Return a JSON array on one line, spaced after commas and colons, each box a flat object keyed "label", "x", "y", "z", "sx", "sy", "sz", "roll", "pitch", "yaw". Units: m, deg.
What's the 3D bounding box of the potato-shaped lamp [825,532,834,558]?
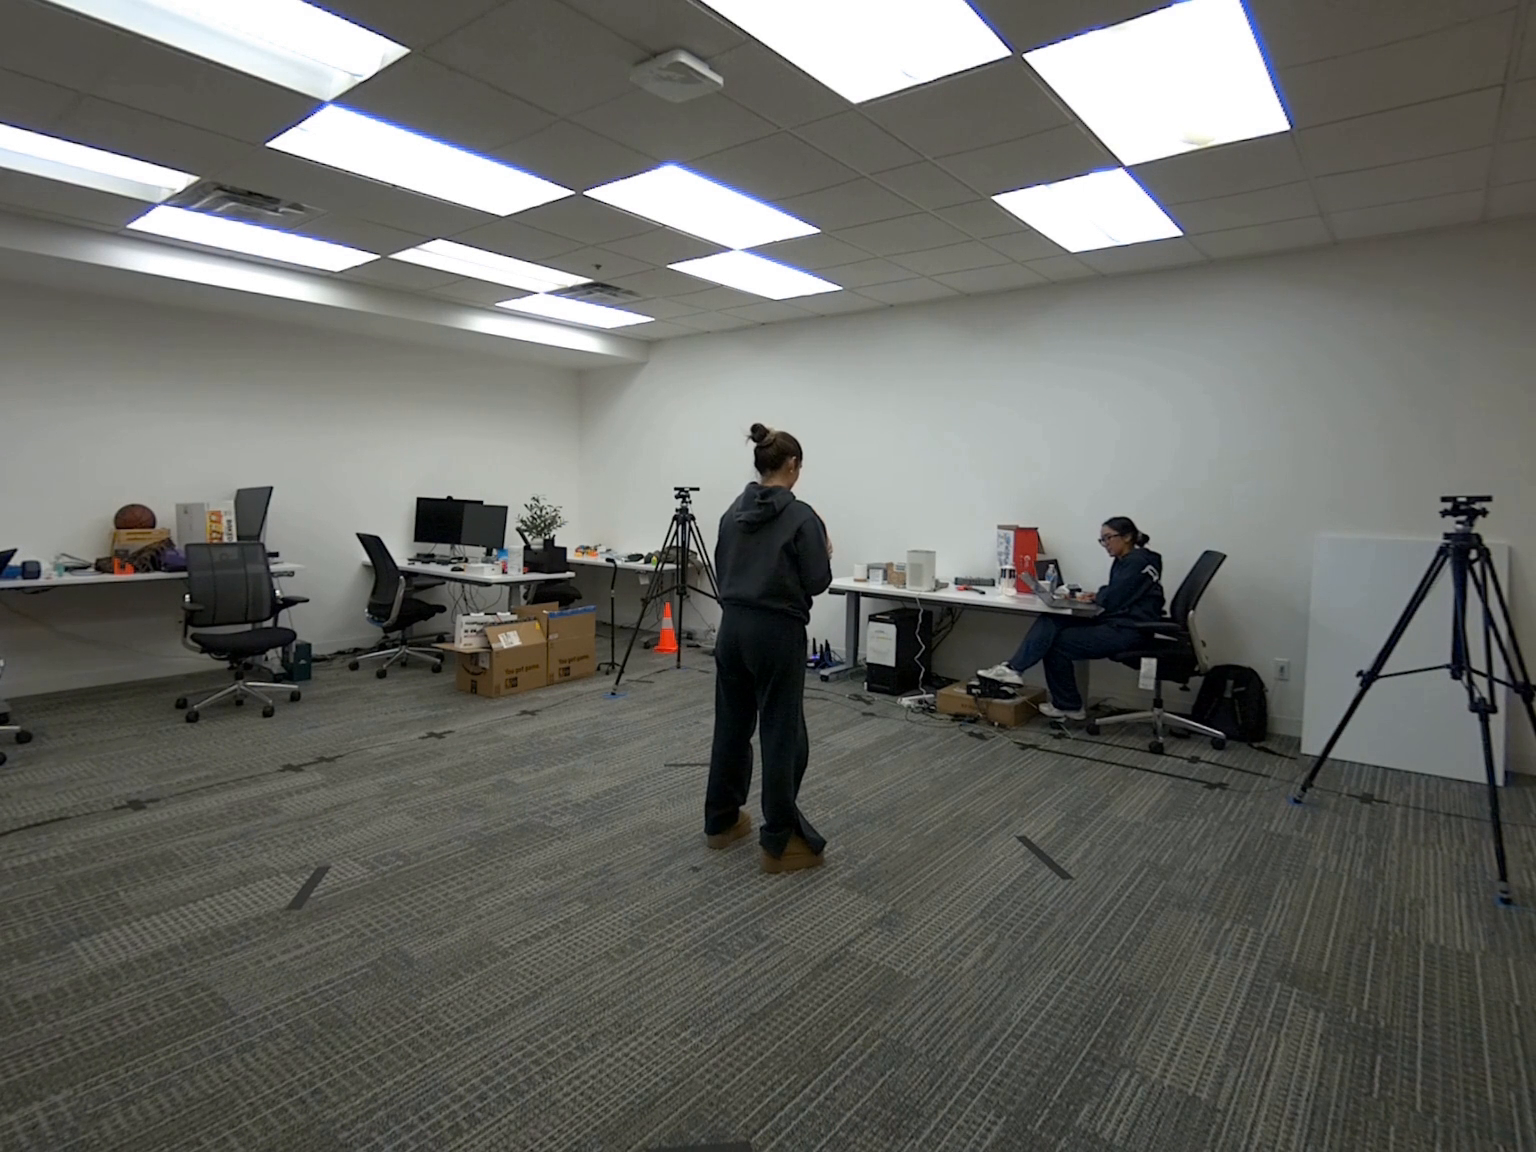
[{"label": "potato-shaped lamp", "x": 0.162, "y": -0.147, "z": 3.412, "sx": 0.170, "sy": 0.198, "sz": 0.166, "roll": 7, "pitch": 1, "yaw": 41}]
